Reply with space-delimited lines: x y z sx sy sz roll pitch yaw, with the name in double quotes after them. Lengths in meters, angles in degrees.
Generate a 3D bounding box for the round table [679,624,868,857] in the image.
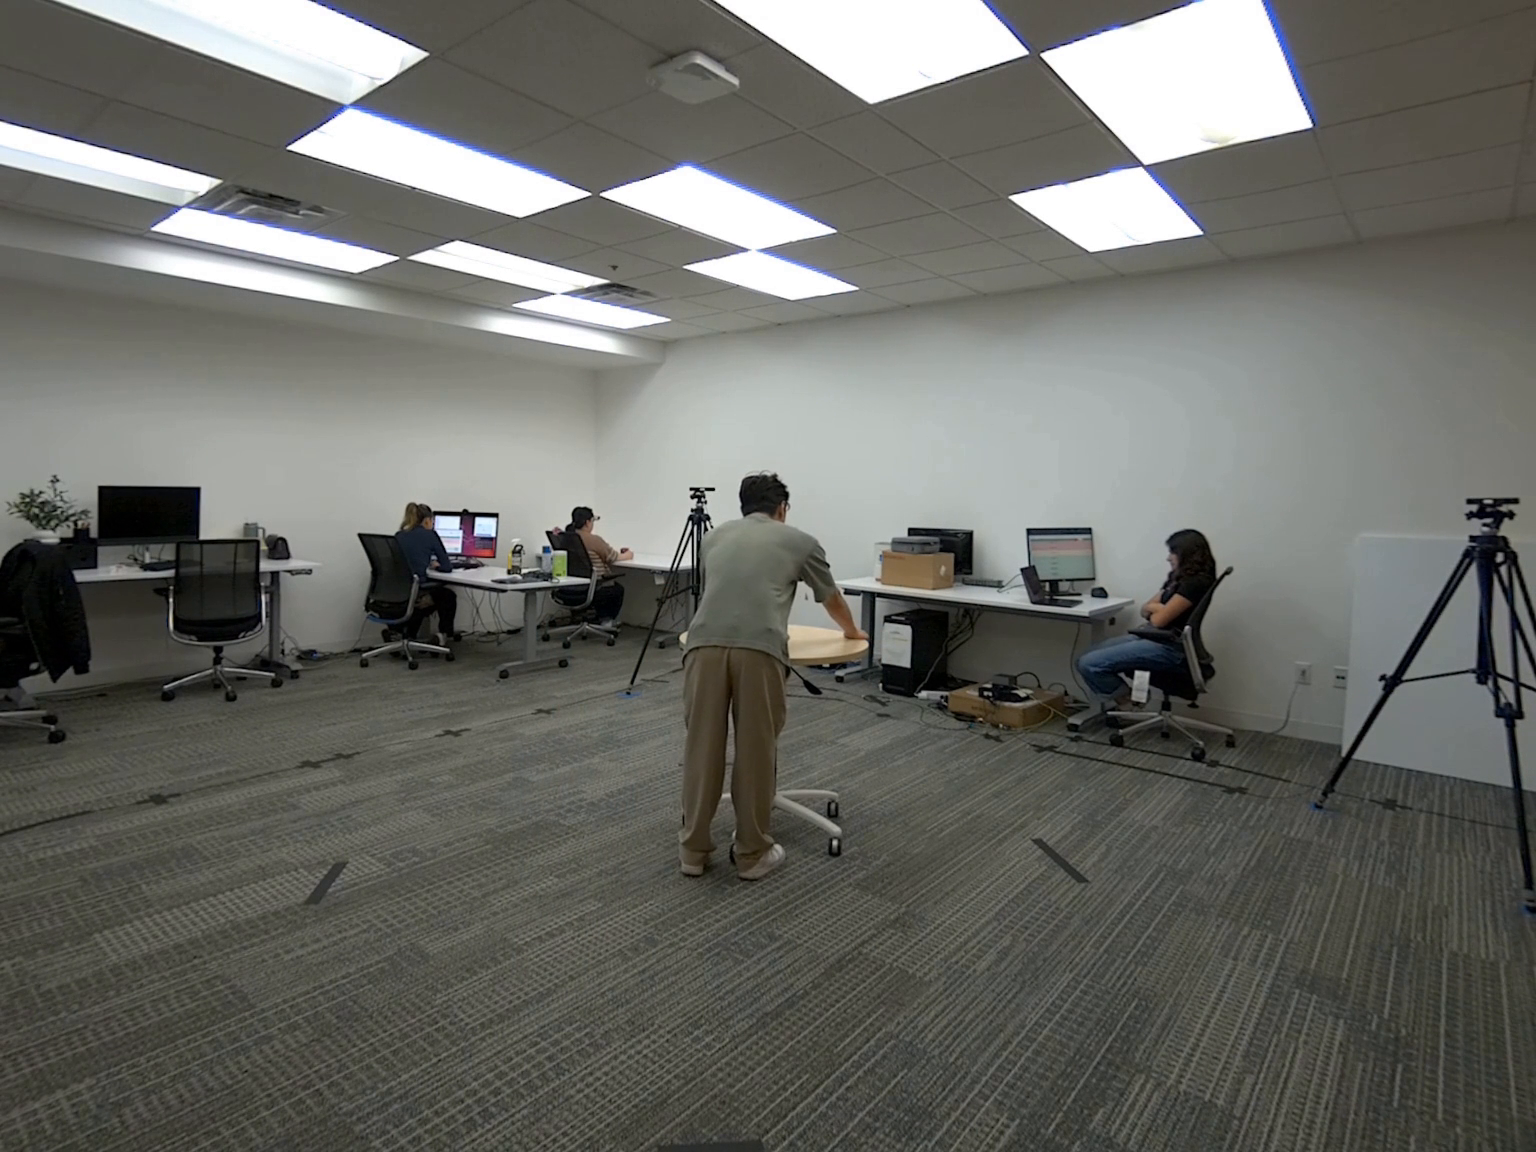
-0.006 0.639 3.491 0.784 0.784 0.788 2 4 -2 "round table"
